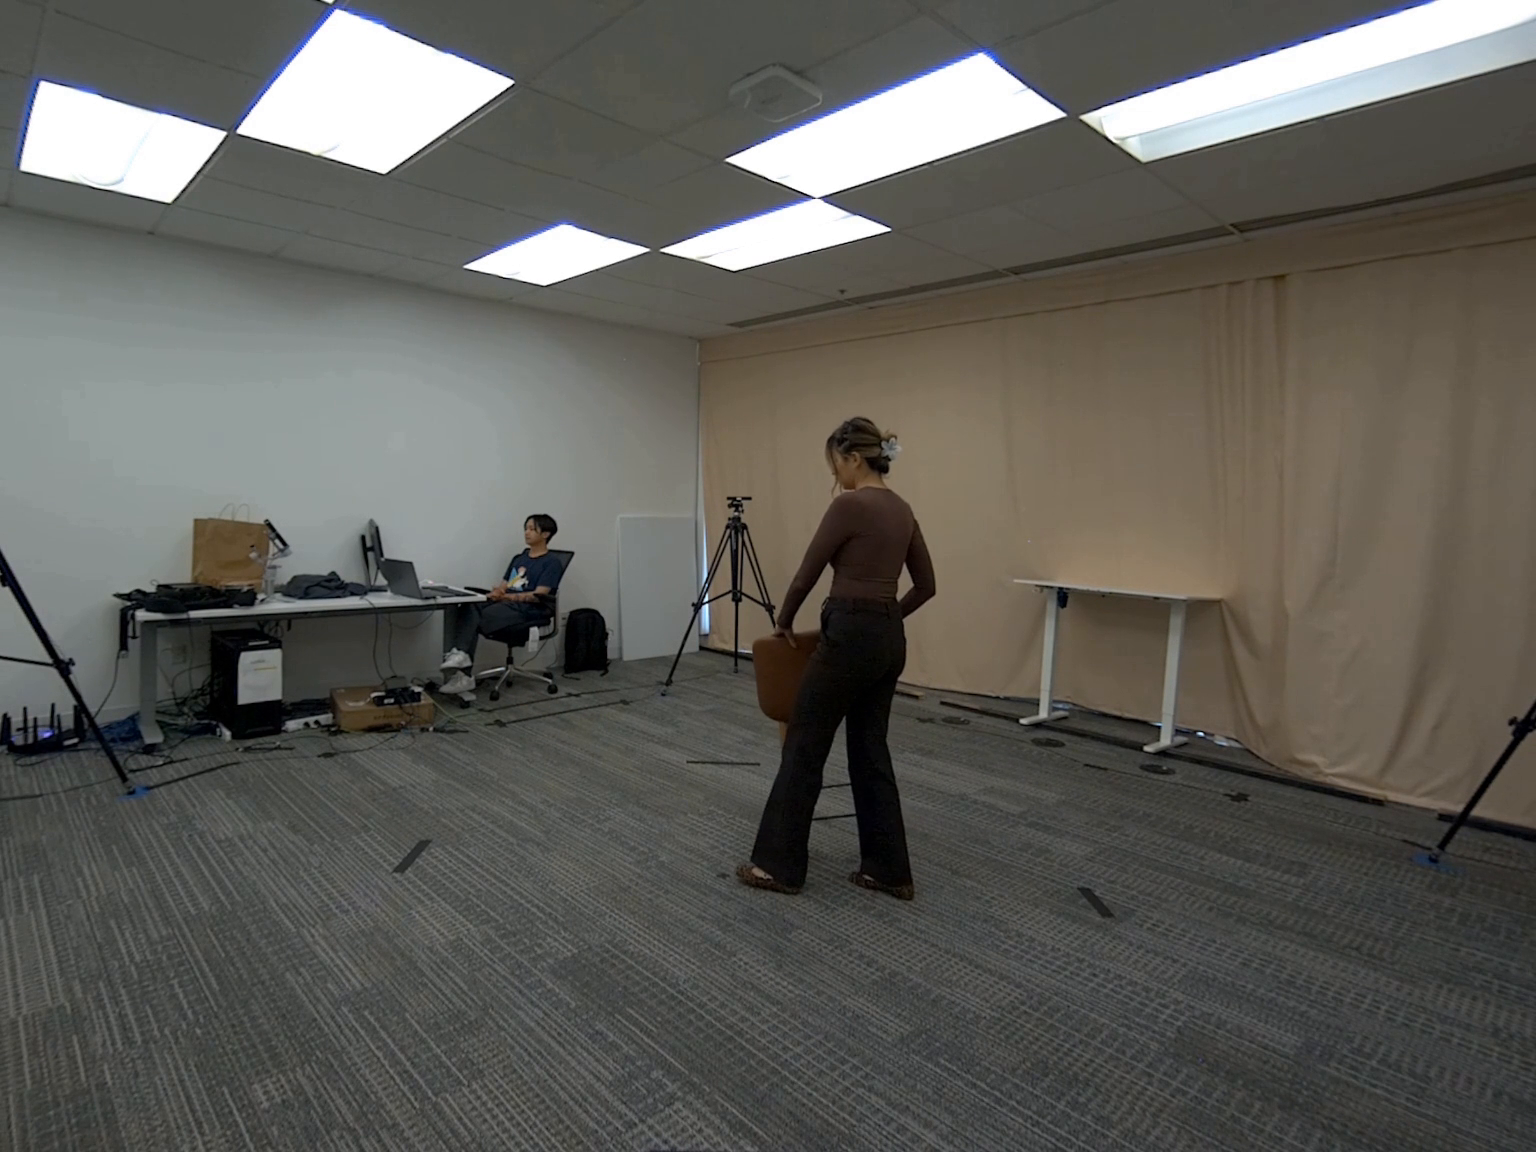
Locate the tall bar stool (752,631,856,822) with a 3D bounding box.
[{"bbox_3d":[0.222,0.628,3.416,0.460,0.887,0.465,-10,4,11],"label":"tall bar stool"}]
